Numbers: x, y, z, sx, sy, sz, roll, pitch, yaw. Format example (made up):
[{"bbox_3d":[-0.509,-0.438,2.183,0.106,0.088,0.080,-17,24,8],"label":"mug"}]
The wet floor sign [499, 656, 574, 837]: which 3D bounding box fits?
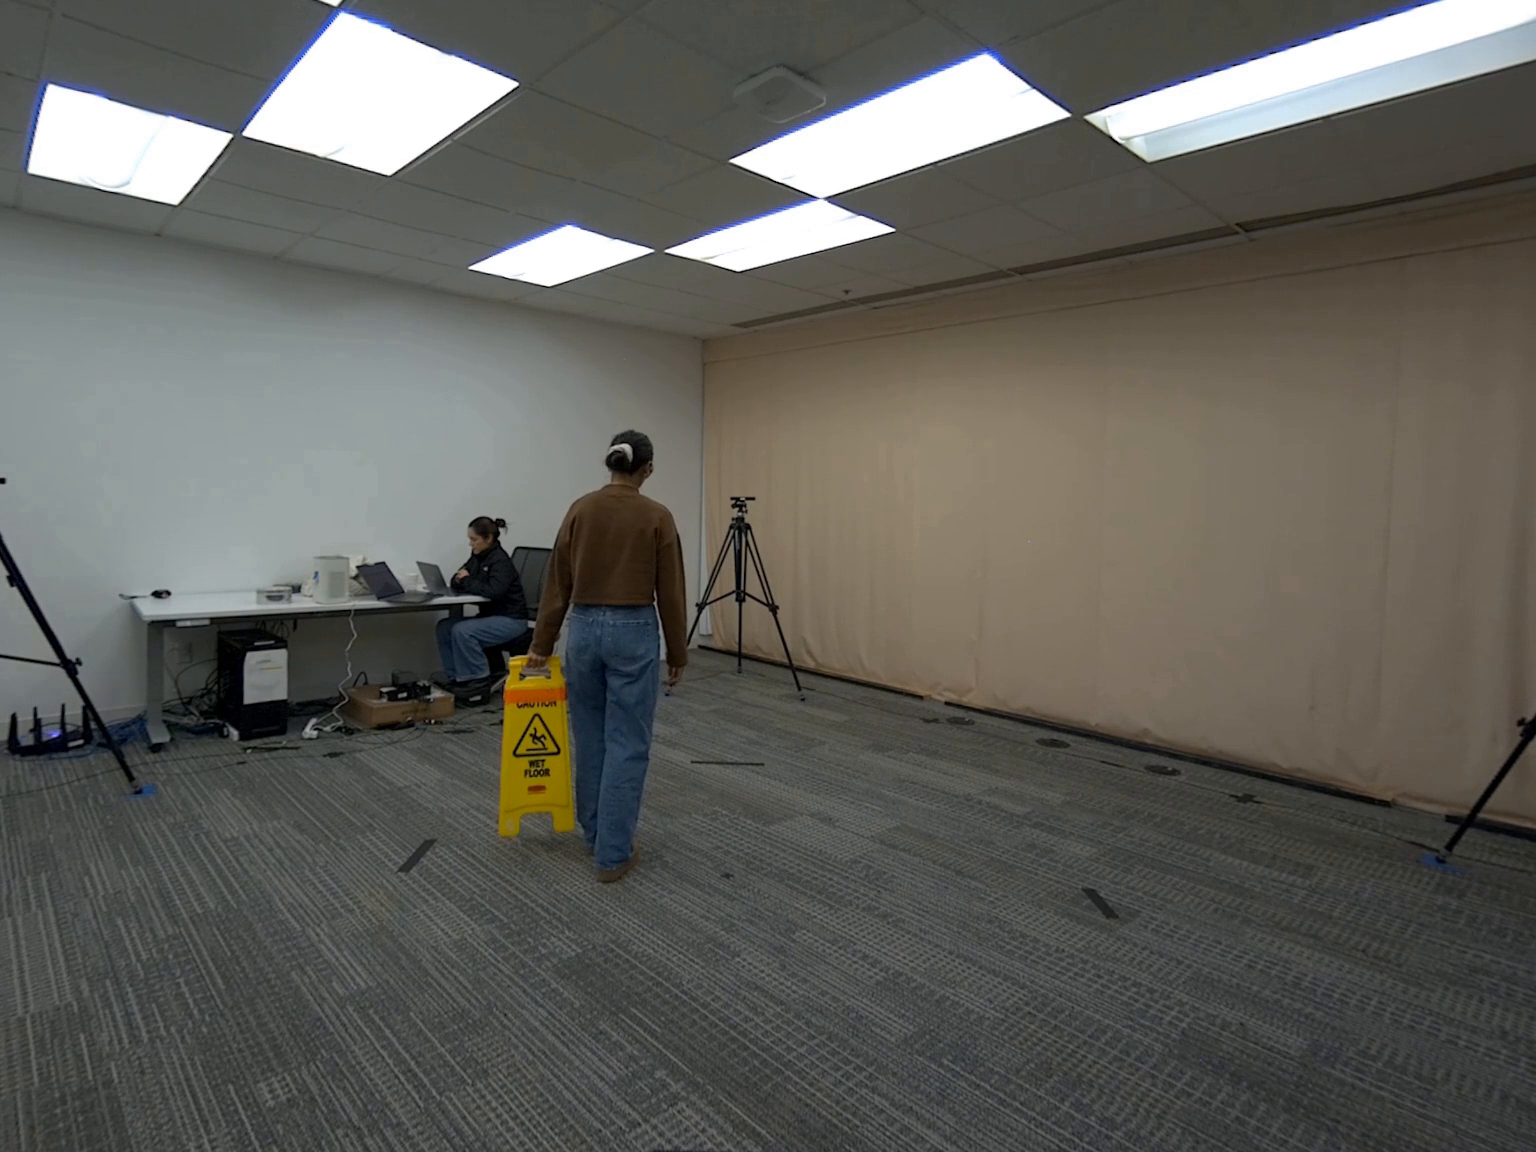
[{"bbox_3d":[-0.906,0.633,3.284,0.279,0.645,0.293,-1,3,-15],"label":"wet floor sign"}]
